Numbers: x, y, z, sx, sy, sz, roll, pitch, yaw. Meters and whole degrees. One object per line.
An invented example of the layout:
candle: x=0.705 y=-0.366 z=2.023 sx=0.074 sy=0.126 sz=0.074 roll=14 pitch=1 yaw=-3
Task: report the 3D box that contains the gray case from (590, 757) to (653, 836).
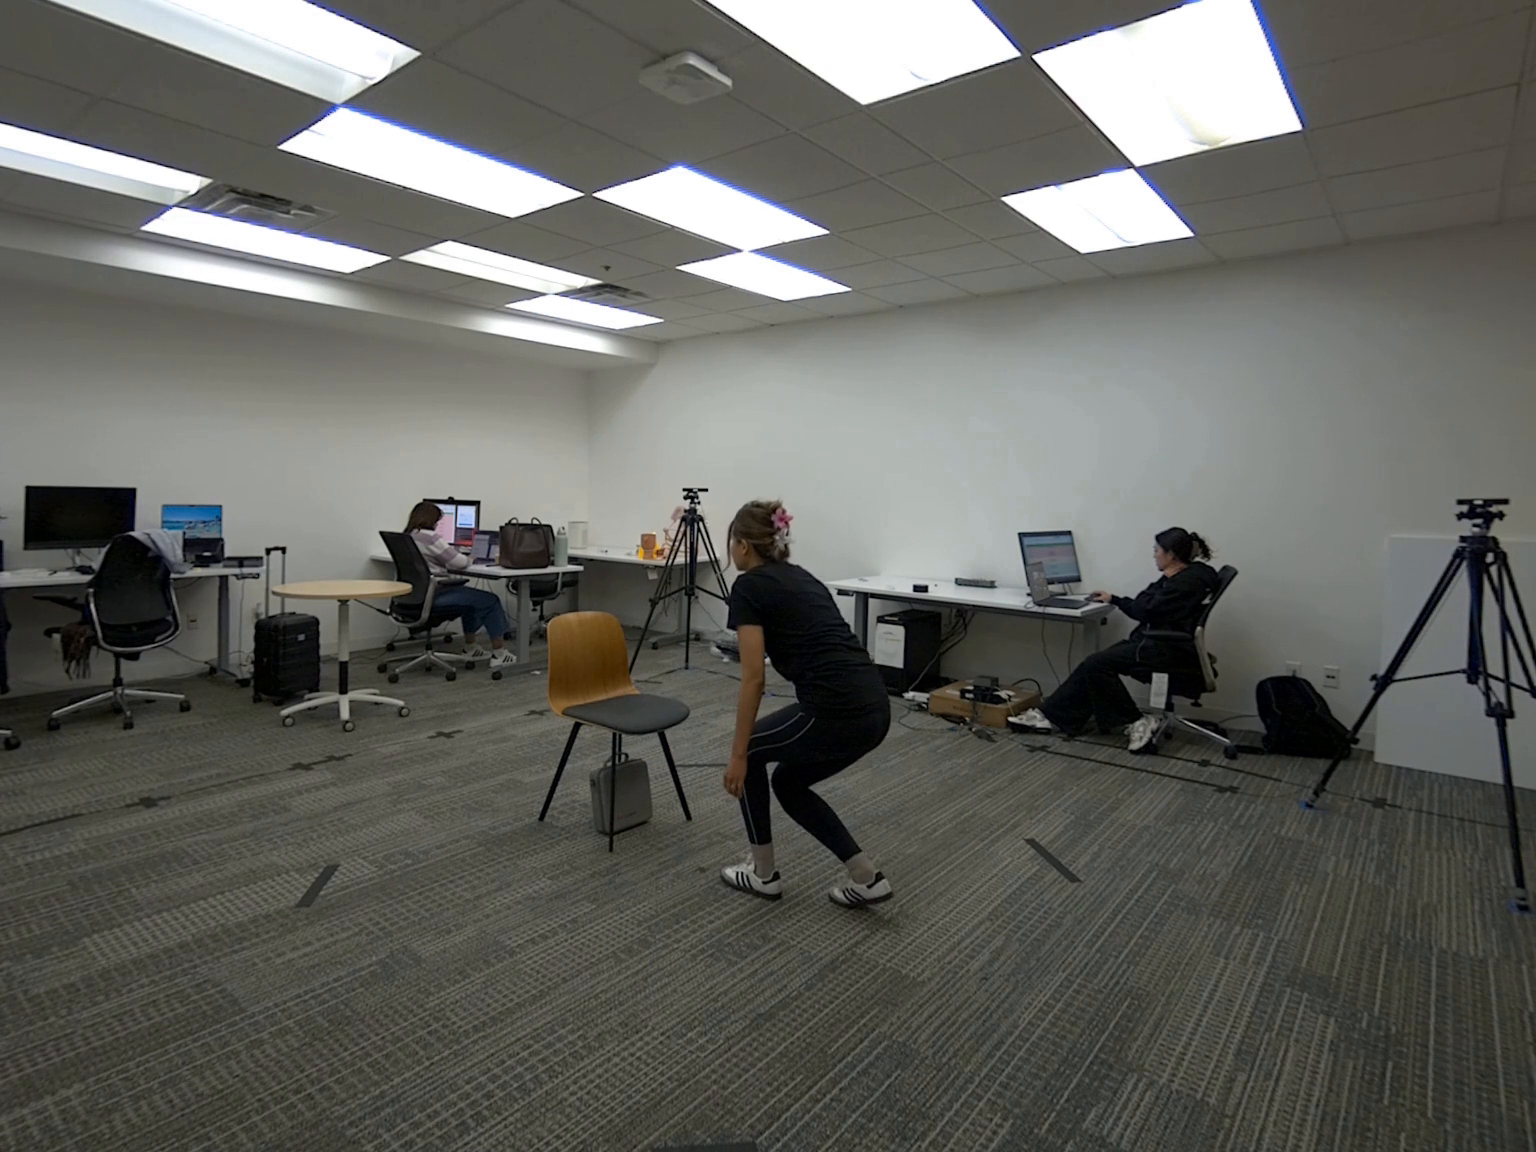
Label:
gray case: x=-0.616 y=0.897 z=3.498 sx=0.107 sy=0.262 sz=0.249 roll=-10 pitch=-5 yaw=44
